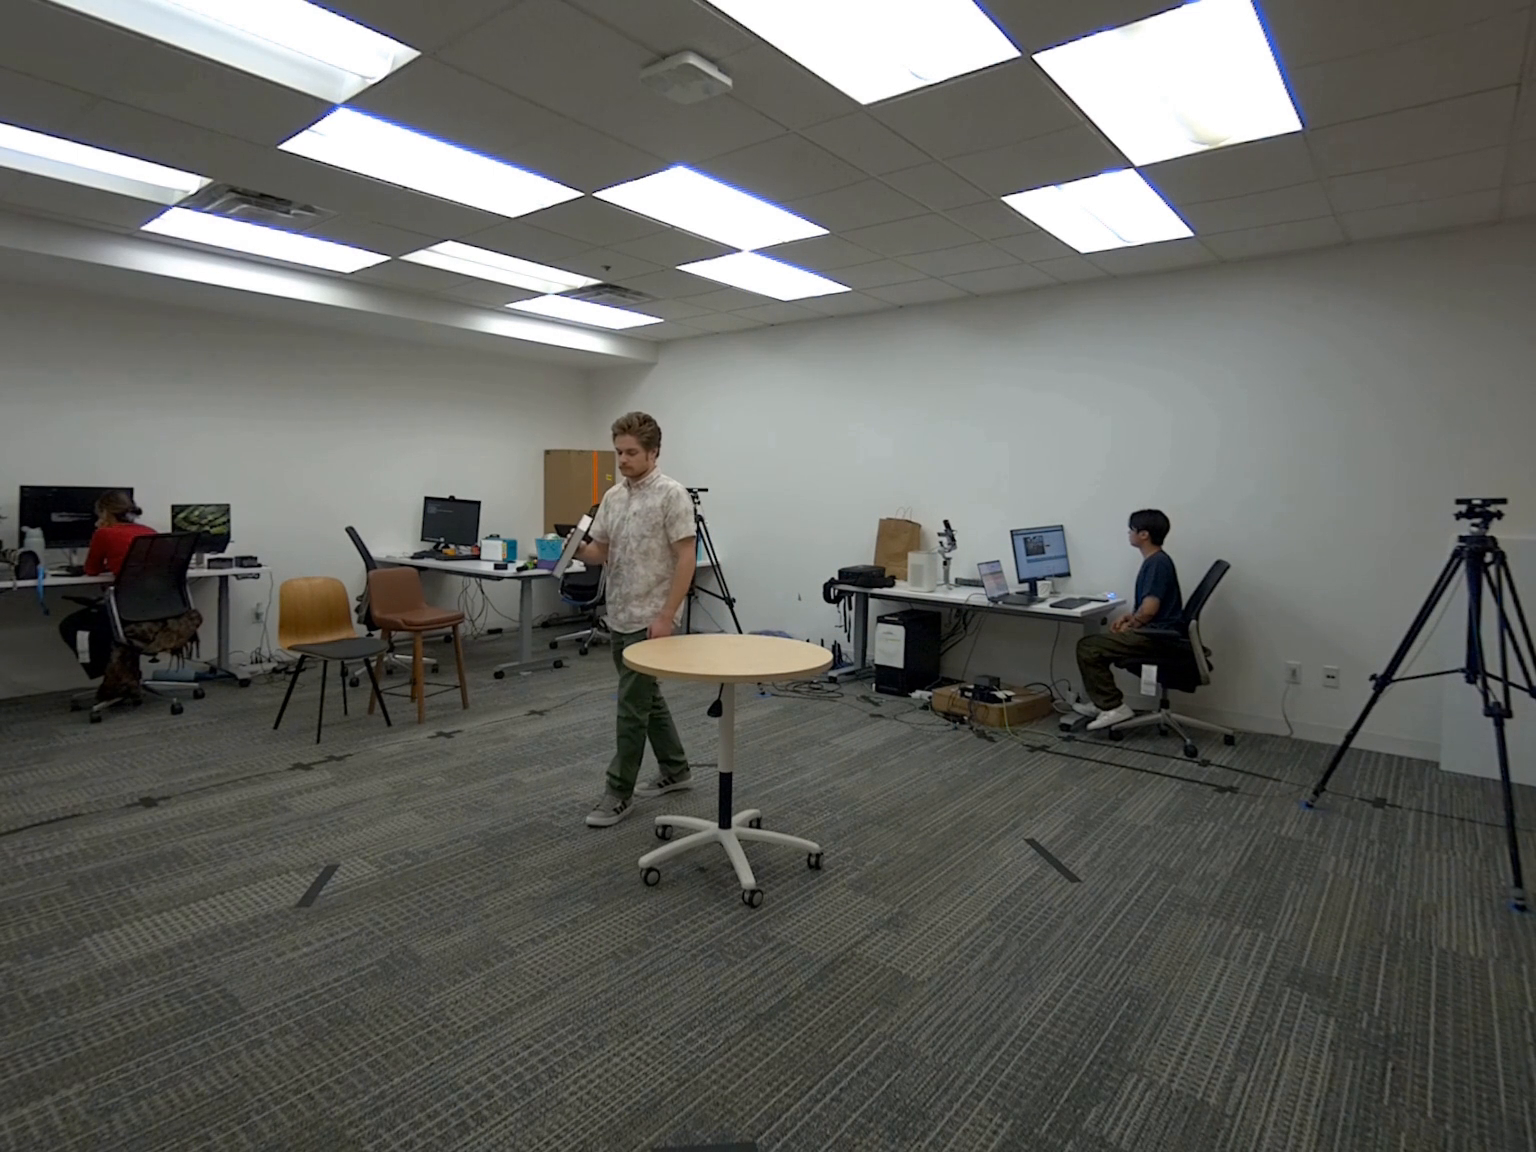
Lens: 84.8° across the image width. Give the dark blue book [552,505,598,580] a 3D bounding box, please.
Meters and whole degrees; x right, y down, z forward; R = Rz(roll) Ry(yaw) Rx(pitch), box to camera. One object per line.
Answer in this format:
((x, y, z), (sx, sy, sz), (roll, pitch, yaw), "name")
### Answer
((-0.828, -0.128, 3.507), (0.044, 0.244, 0.166), (28, 19, -12), "dark blue book")
